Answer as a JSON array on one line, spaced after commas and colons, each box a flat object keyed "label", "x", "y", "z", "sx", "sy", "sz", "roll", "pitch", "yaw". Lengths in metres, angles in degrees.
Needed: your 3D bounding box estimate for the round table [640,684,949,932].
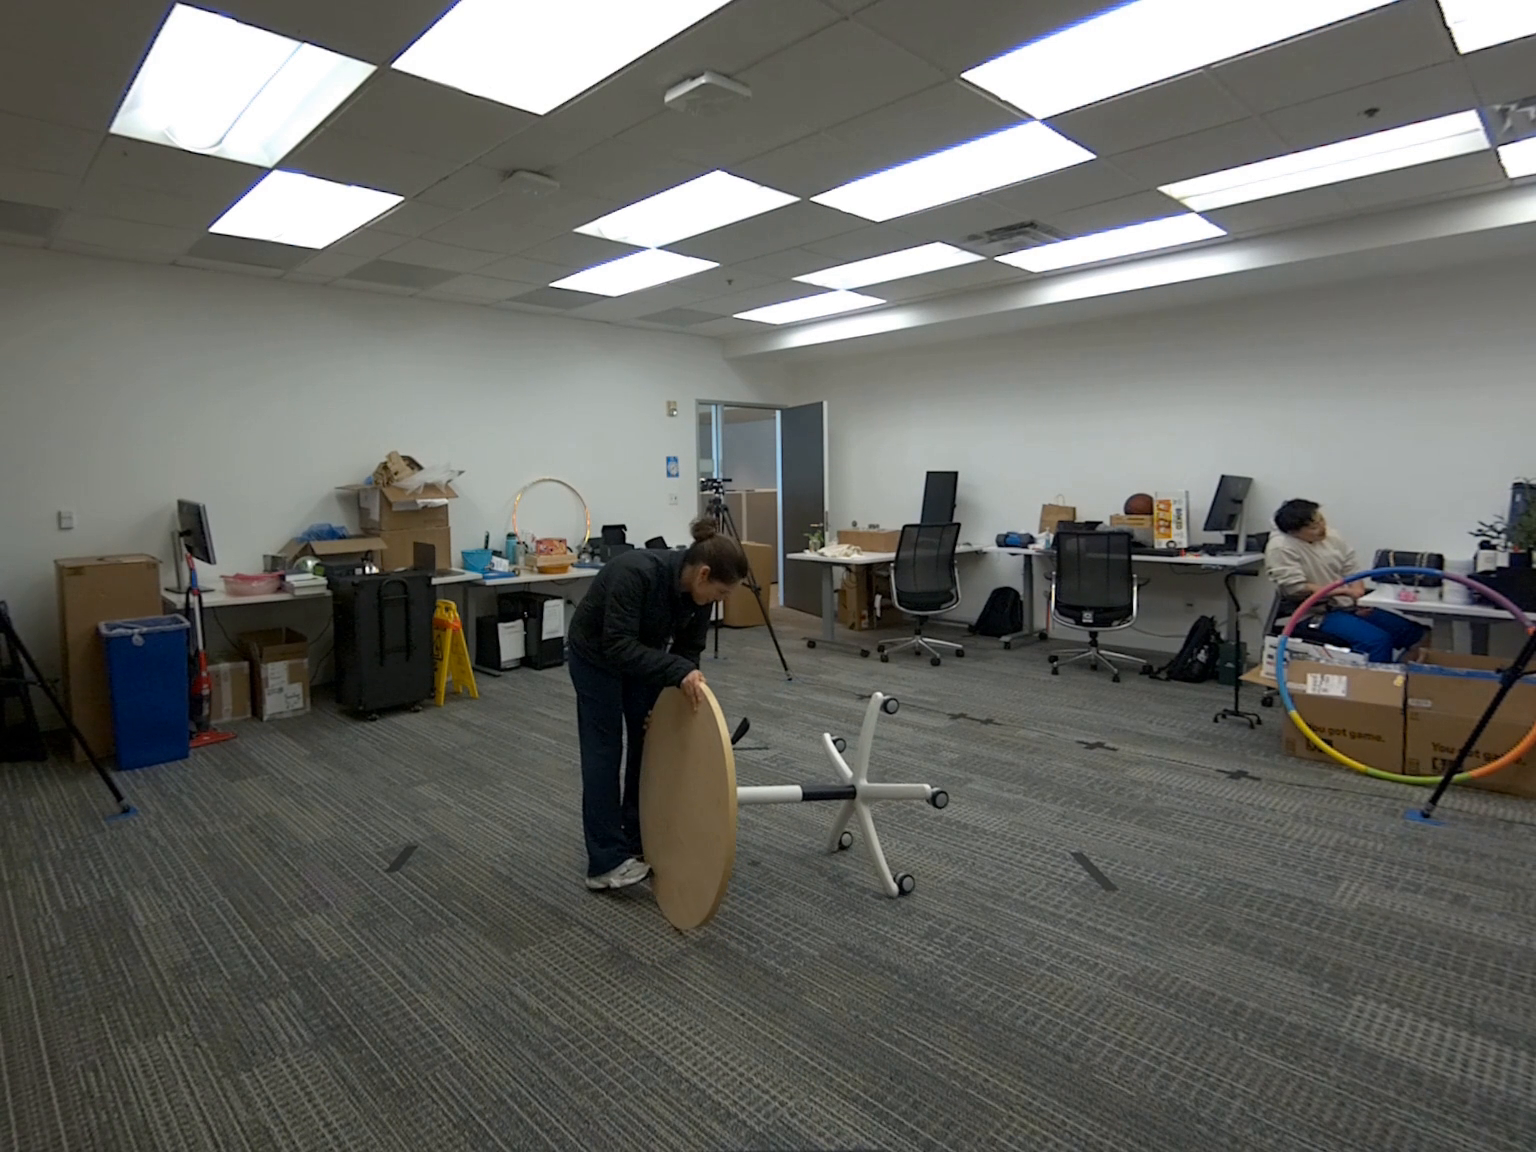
[{"label": "round table", "x": 0.058, "y": 0.732, "z": 2.893, "sx": 0.766, "sy": 0.785, "sz": 0.806, "roll": 5, "pitch": 1, "yaw": -28}]
